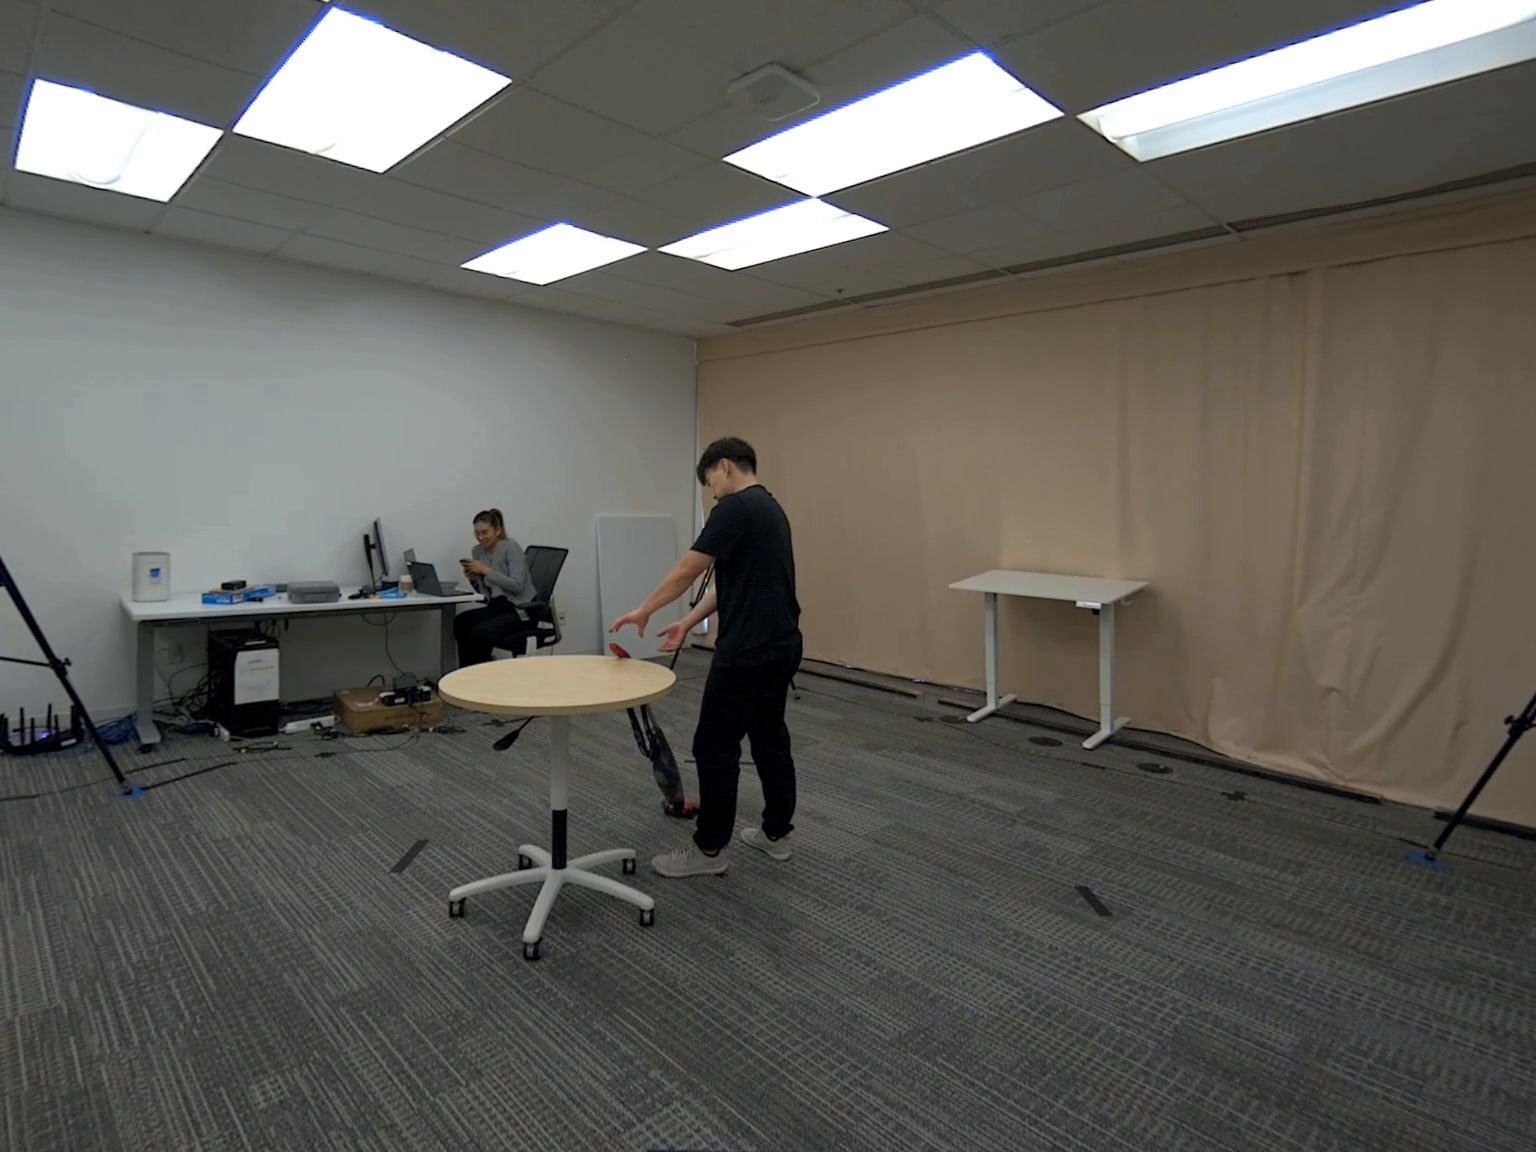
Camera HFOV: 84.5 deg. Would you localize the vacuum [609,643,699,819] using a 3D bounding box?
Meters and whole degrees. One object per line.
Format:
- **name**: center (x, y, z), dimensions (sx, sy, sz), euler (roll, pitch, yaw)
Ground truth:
- **vacuum**: center (-0.475, 0.650, 3.417), dimensions (0.257, 1.021, 0.145), euler (2, 41, 21)
